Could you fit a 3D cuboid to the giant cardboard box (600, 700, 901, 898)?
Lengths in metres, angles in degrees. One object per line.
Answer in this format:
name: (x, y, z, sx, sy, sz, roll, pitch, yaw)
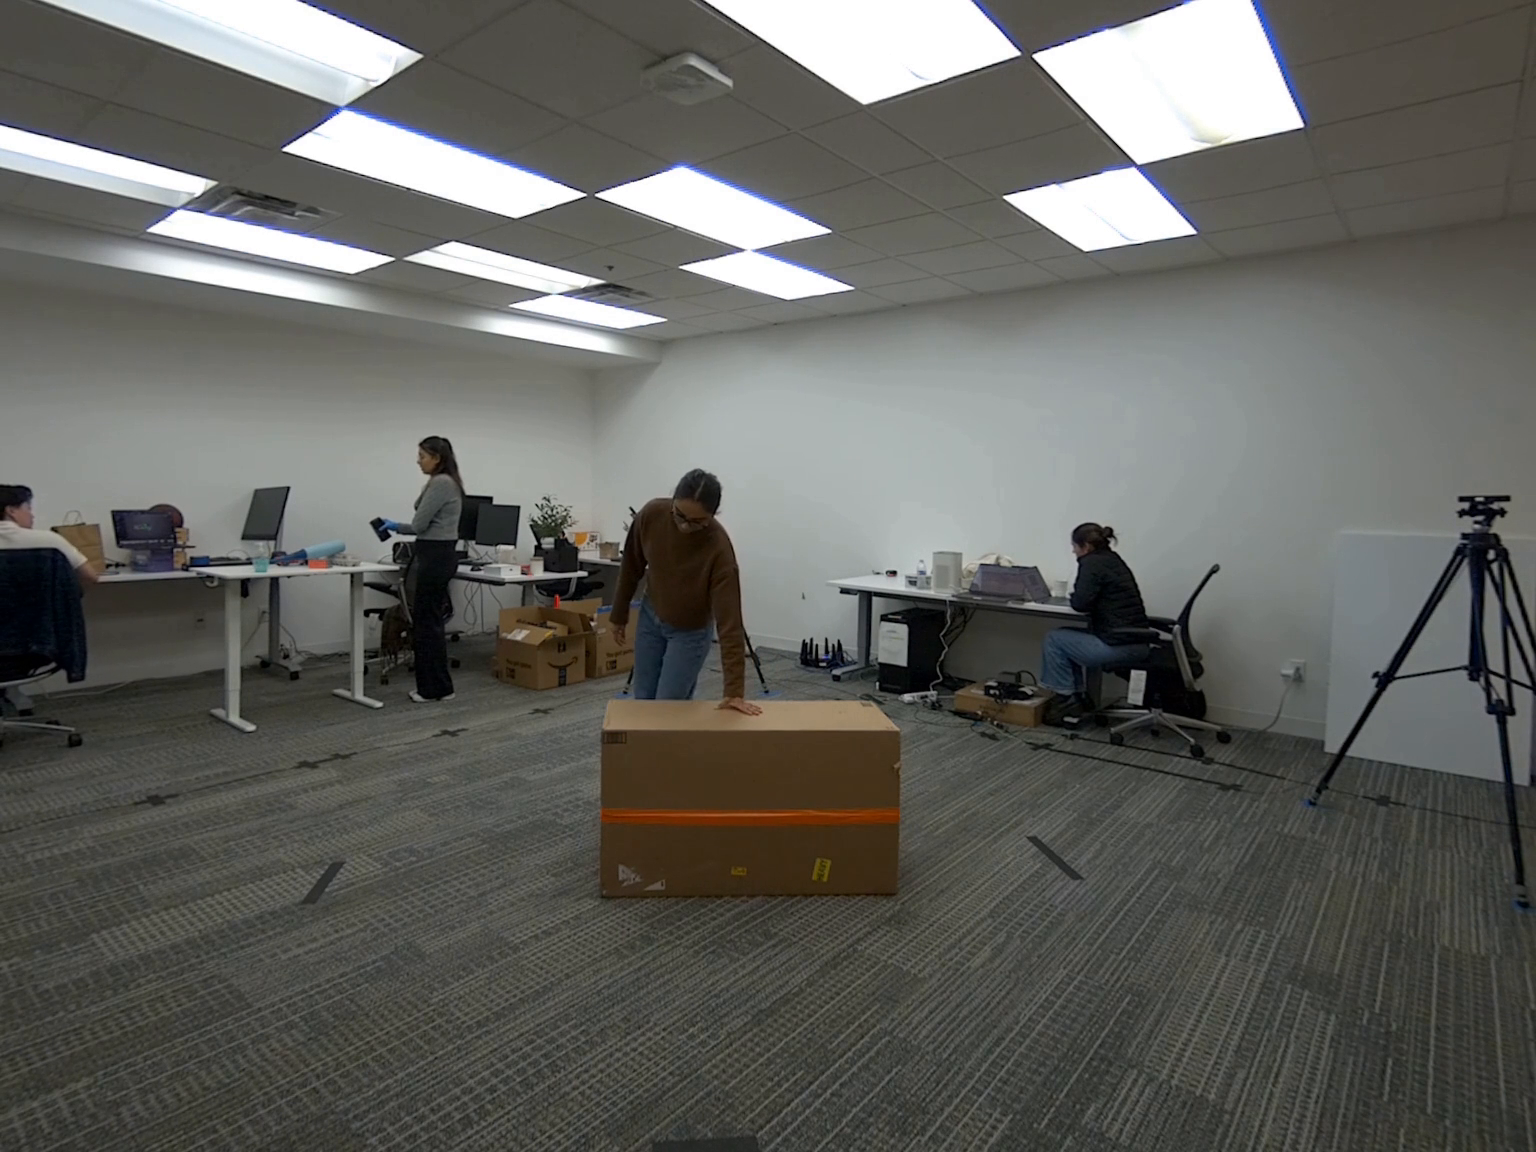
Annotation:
giant cardboard box: (-0.085, 0.784, 3.083, 1.023, 0.583, 0.449, 0, 2, -3)
